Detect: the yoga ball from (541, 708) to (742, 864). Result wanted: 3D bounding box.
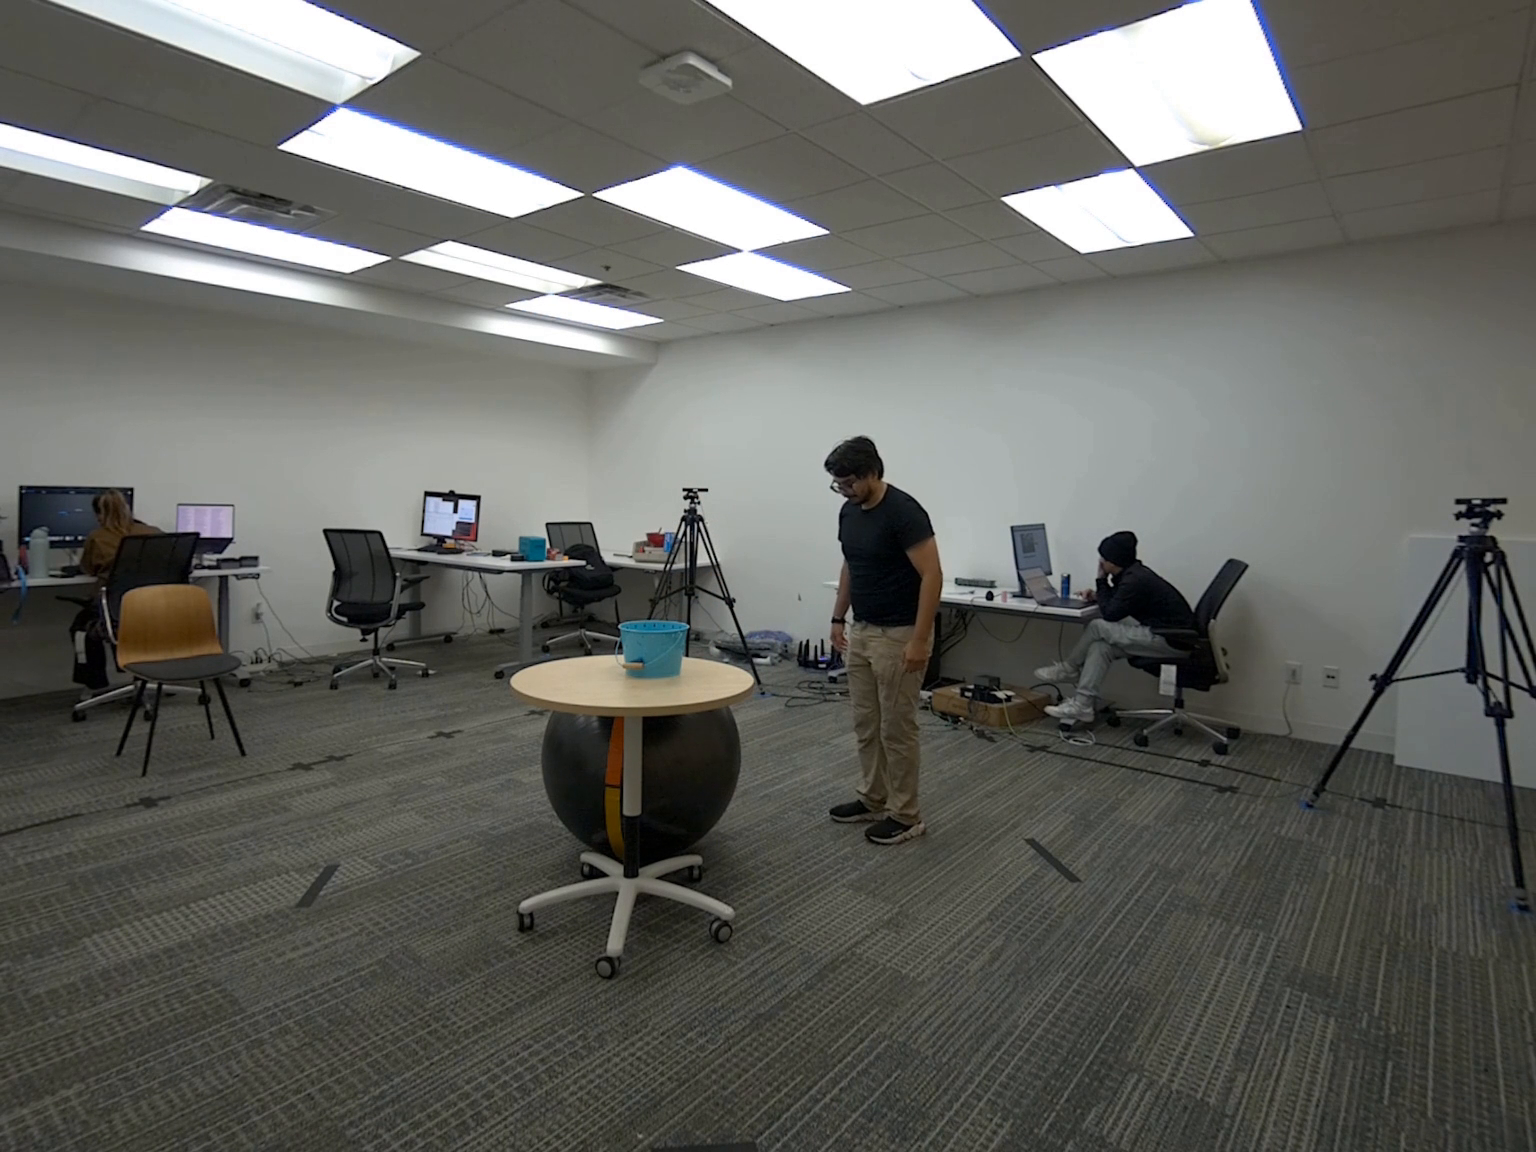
[{"bbox_3d":[-0.493,0.682,3.260,0.757,0.755,0.762,1,4,-2],"label":"yoga ball"}]
